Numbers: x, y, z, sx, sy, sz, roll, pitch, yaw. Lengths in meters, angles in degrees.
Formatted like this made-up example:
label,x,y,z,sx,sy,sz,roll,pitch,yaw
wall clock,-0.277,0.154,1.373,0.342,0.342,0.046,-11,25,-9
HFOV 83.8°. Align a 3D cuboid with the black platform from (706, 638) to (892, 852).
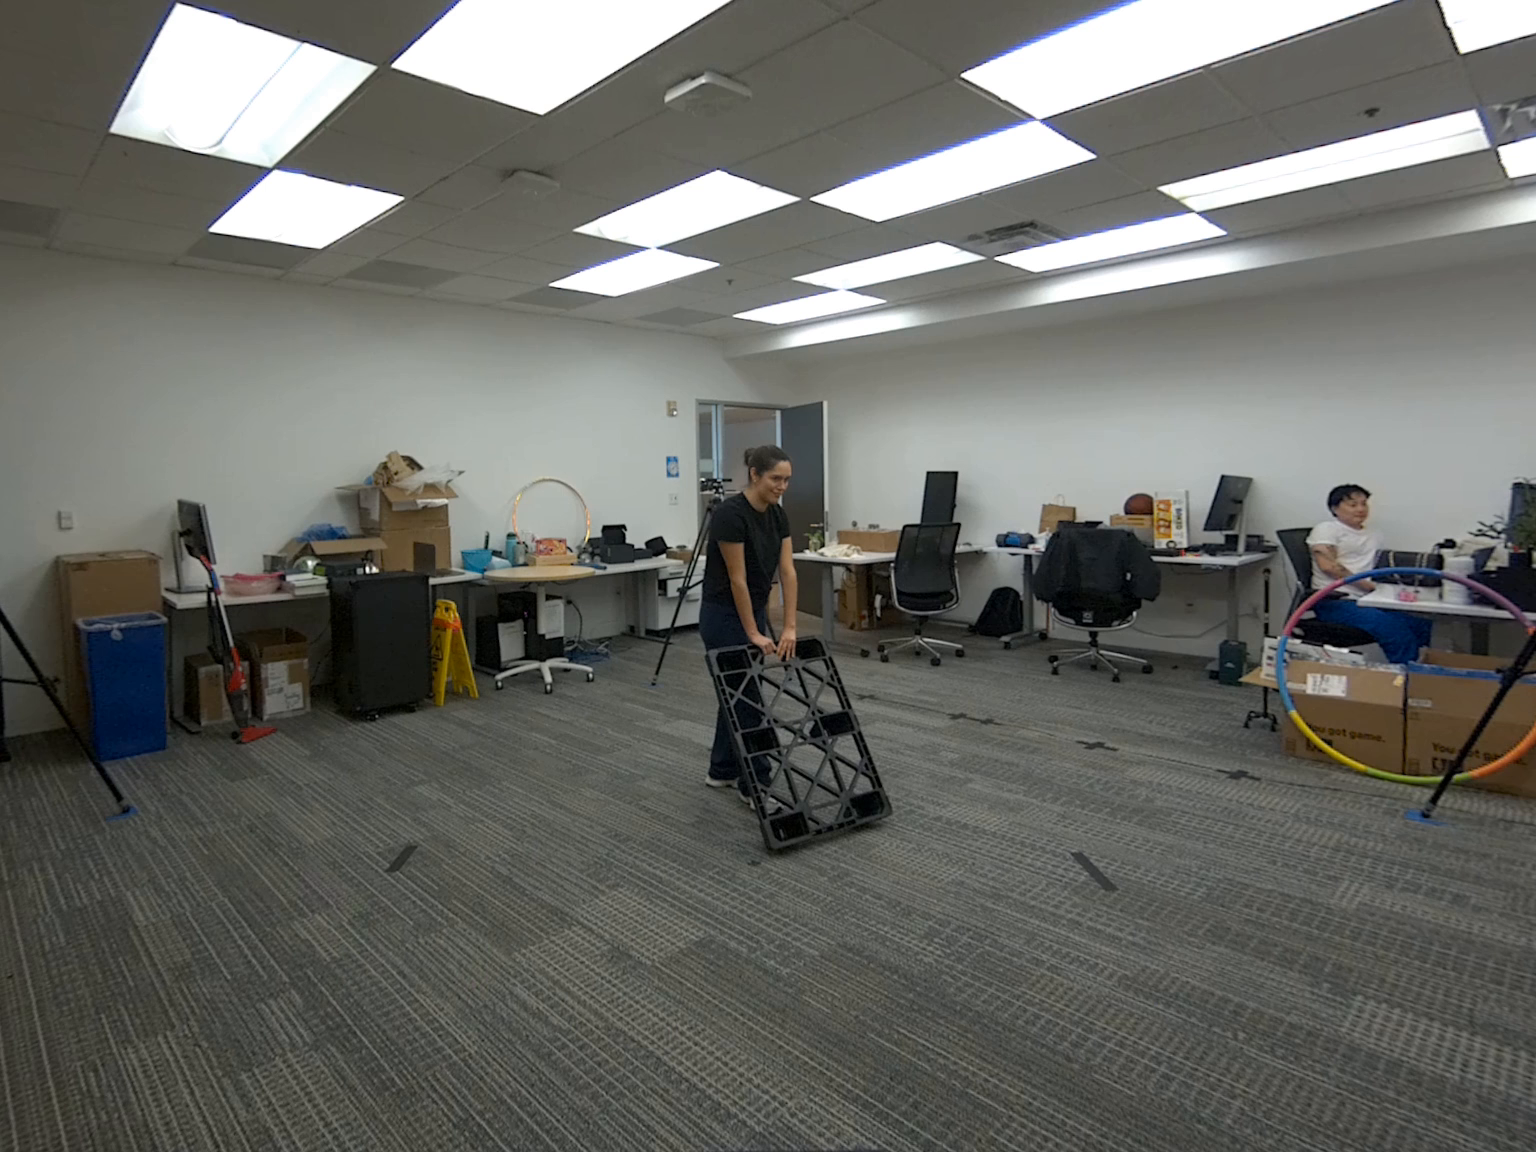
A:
label,x,y,z,sx,sy,sz,roll,pitch,yaw
black platform,0.098,0.658,3.494,0.590,0.827,0.143,-4,-29,-32
